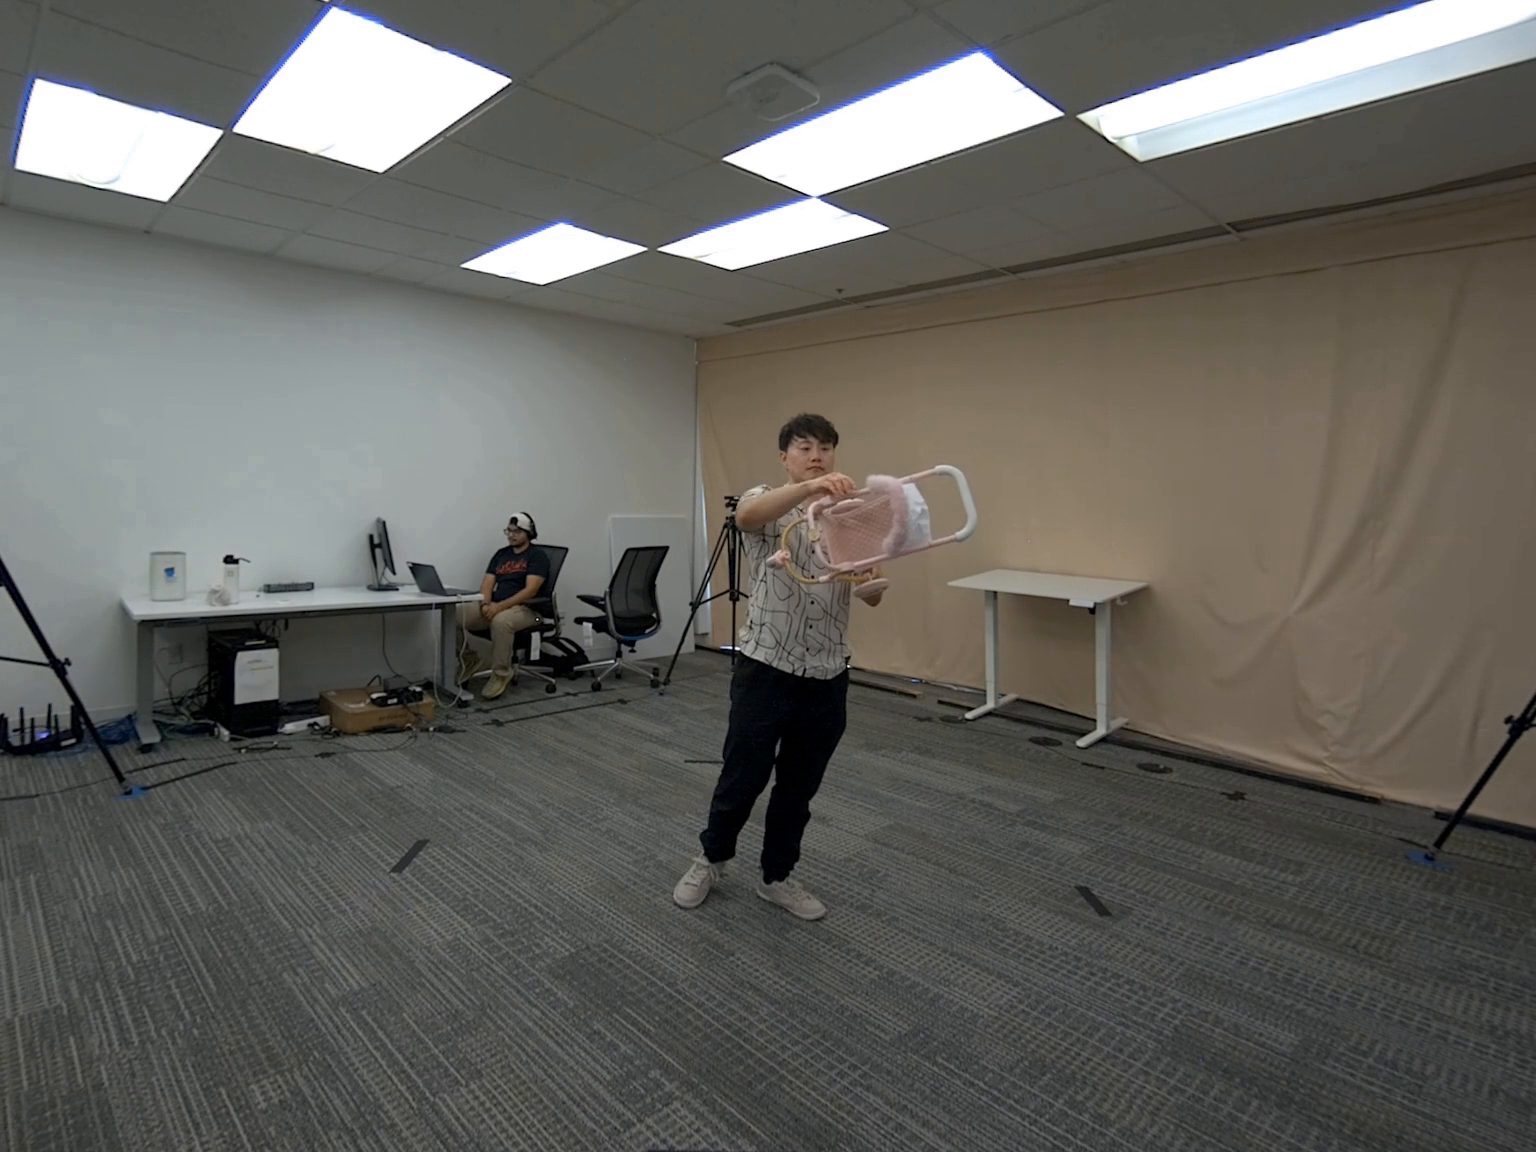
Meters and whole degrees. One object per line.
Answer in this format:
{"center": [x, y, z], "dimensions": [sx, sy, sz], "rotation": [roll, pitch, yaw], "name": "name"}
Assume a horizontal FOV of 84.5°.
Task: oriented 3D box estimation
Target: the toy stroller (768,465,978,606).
{"center": [0.242, -0.119, 2.288], "dimensions": [0.334, 0.285, 0.539], "rotation": [1, -18, -30], "name": "toy stroller"}
